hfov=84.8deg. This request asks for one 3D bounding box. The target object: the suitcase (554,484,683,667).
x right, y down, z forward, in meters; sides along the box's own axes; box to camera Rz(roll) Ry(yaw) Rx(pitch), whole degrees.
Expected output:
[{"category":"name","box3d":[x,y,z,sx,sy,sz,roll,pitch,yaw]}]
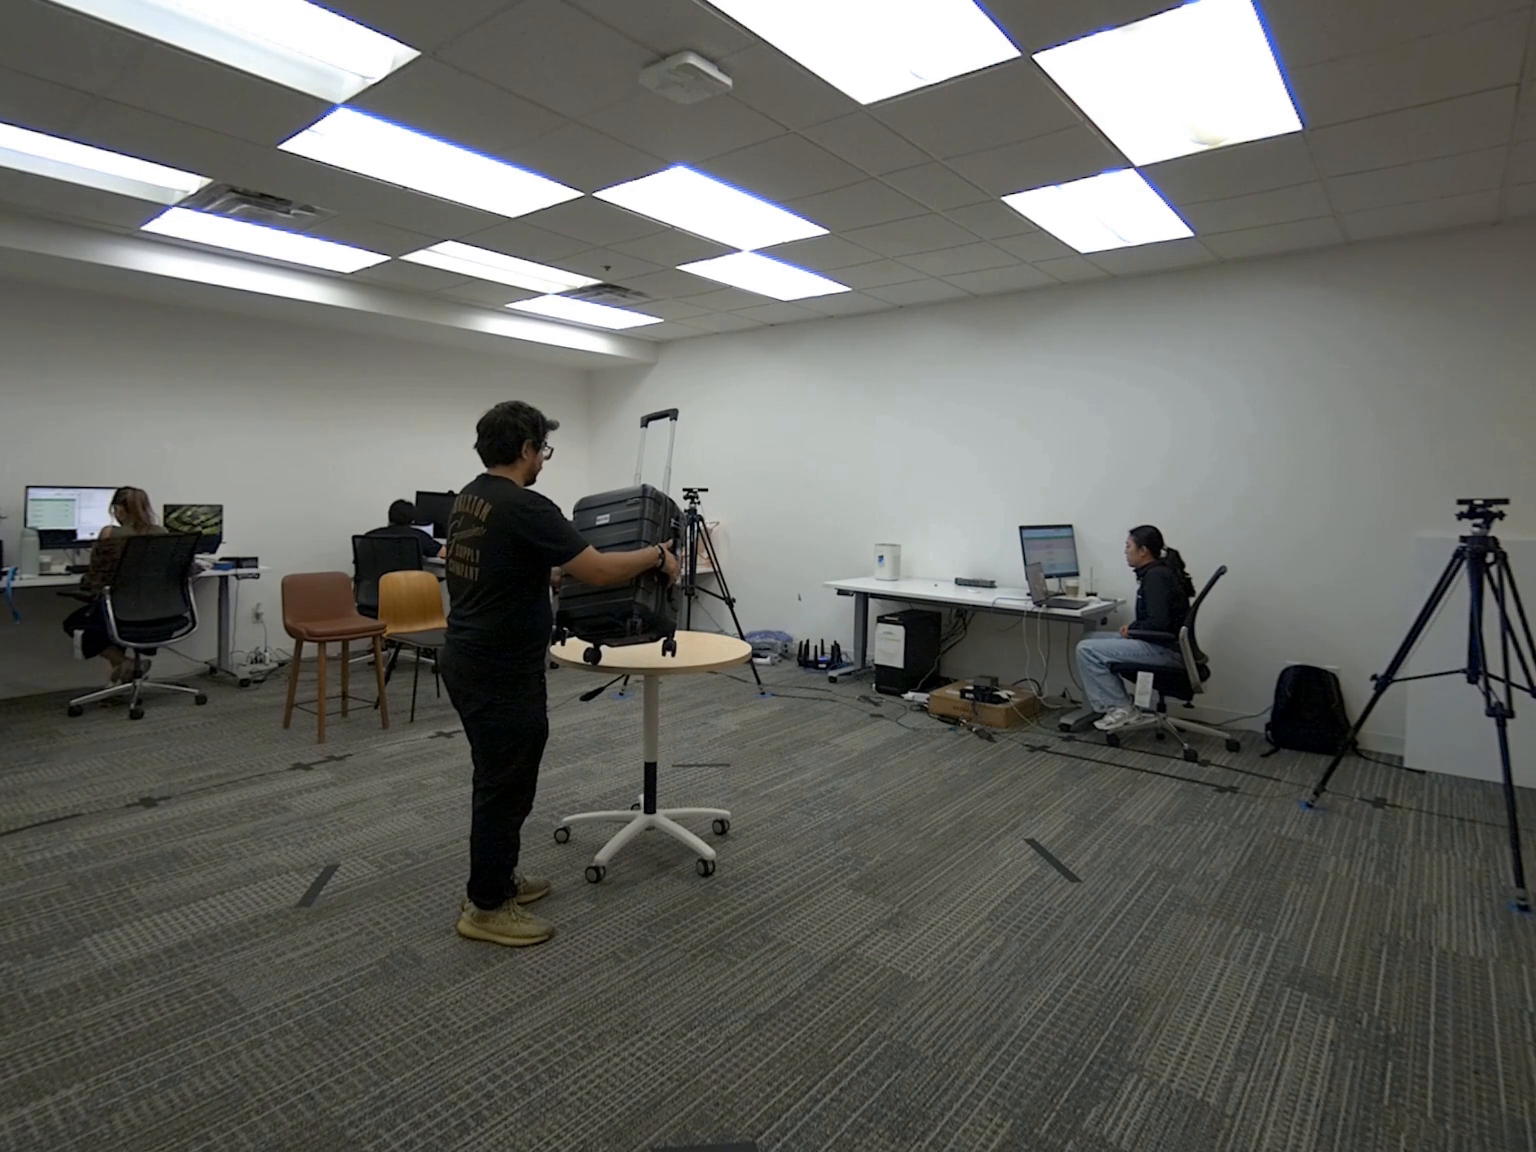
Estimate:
[{"category":"suitcase","box3d":[-0.492,-0.211,2.944,0.392,0.999,0.246,-12,-27,26]}]
